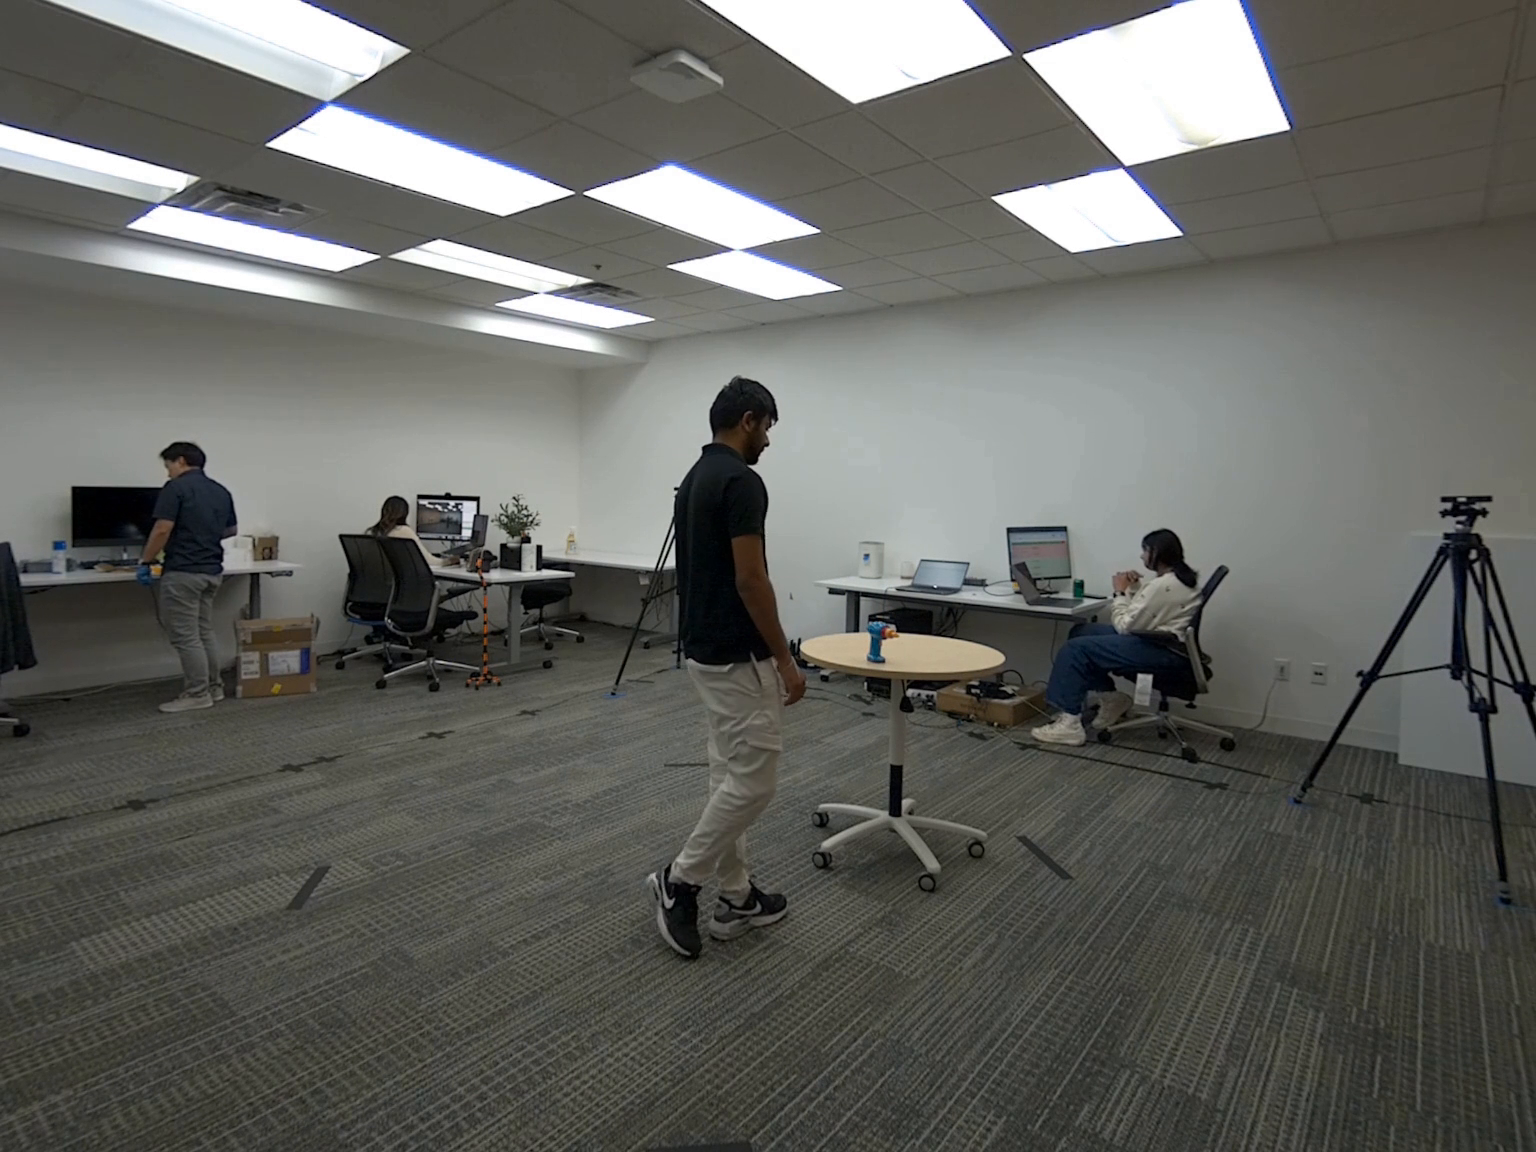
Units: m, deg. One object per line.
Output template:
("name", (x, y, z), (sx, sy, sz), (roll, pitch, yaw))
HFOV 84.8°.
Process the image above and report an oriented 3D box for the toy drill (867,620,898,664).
("toy drill", (0.404, 0.234, 3.010), (0.059, 0.146, 0.175), (2, 3, -31))
